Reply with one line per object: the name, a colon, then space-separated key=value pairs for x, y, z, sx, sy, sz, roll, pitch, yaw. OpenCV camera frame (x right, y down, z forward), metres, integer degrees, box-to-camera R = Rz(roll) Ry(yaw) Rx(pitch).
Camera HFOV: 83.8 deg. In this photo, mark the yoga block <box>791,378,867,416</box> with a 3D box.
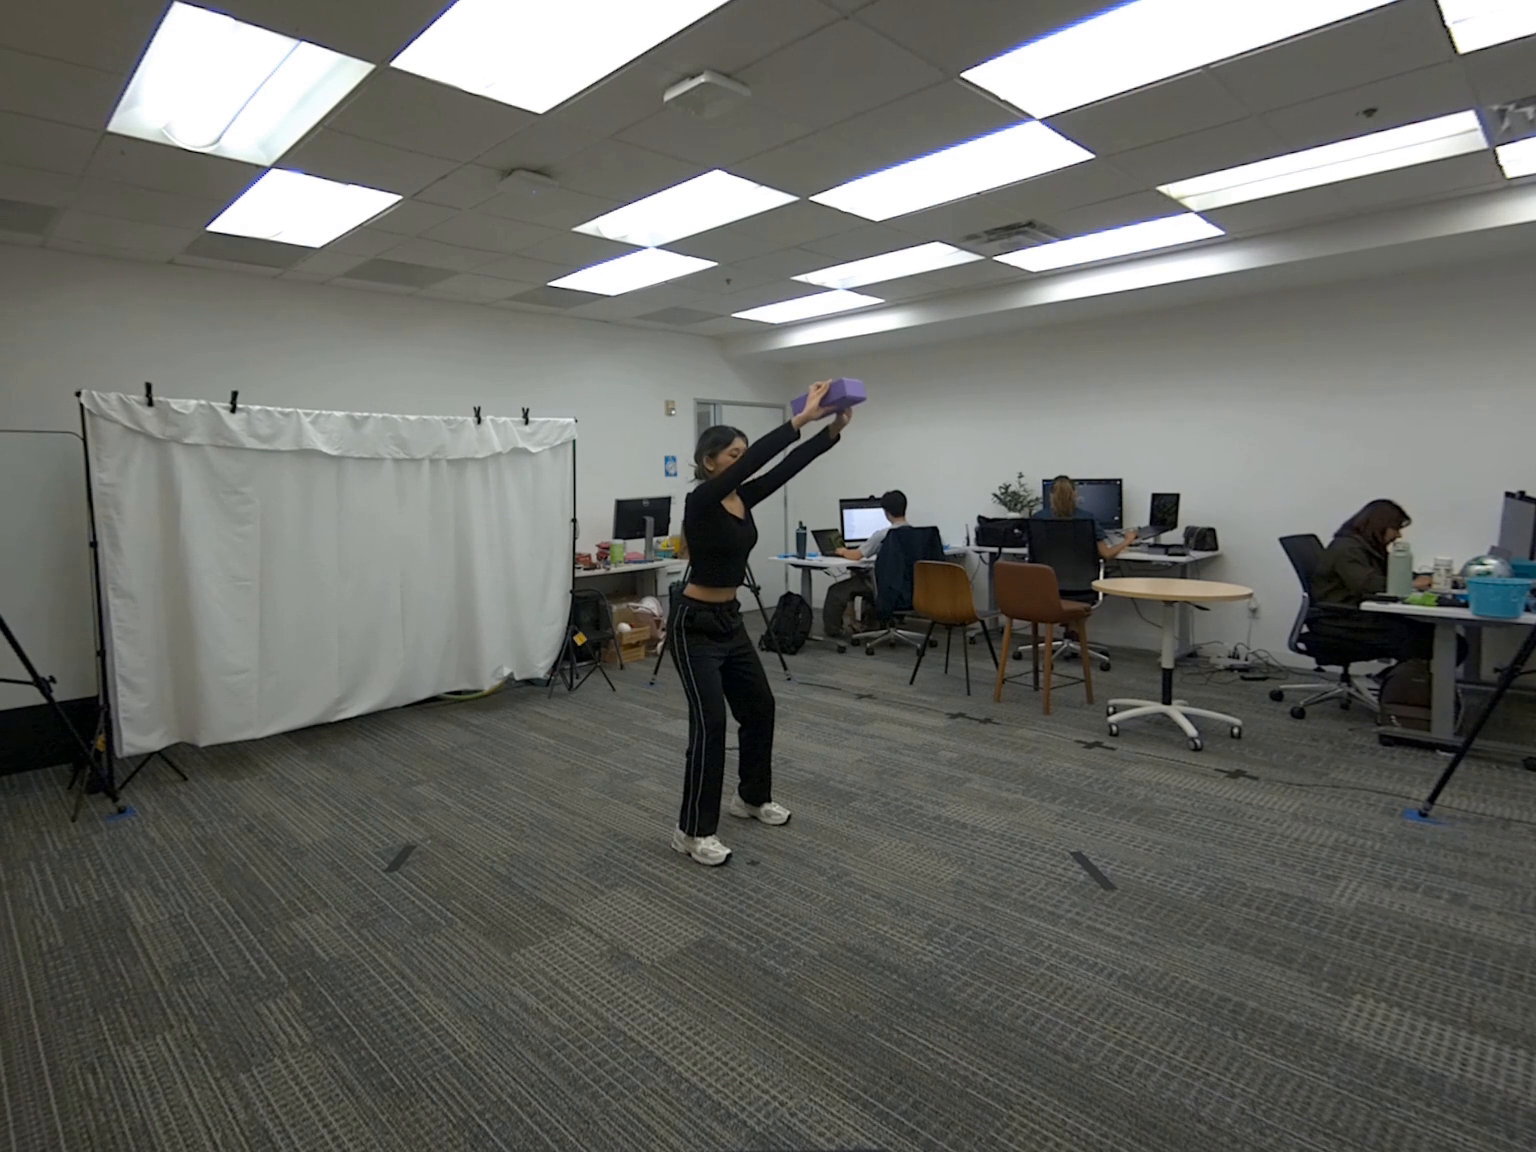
yoga block: x=0.215 y=-0.624 z=3.020 sx=0.234 sy=0.077 sz=0.145 roll=-15 pitch=-3 yaw=34
